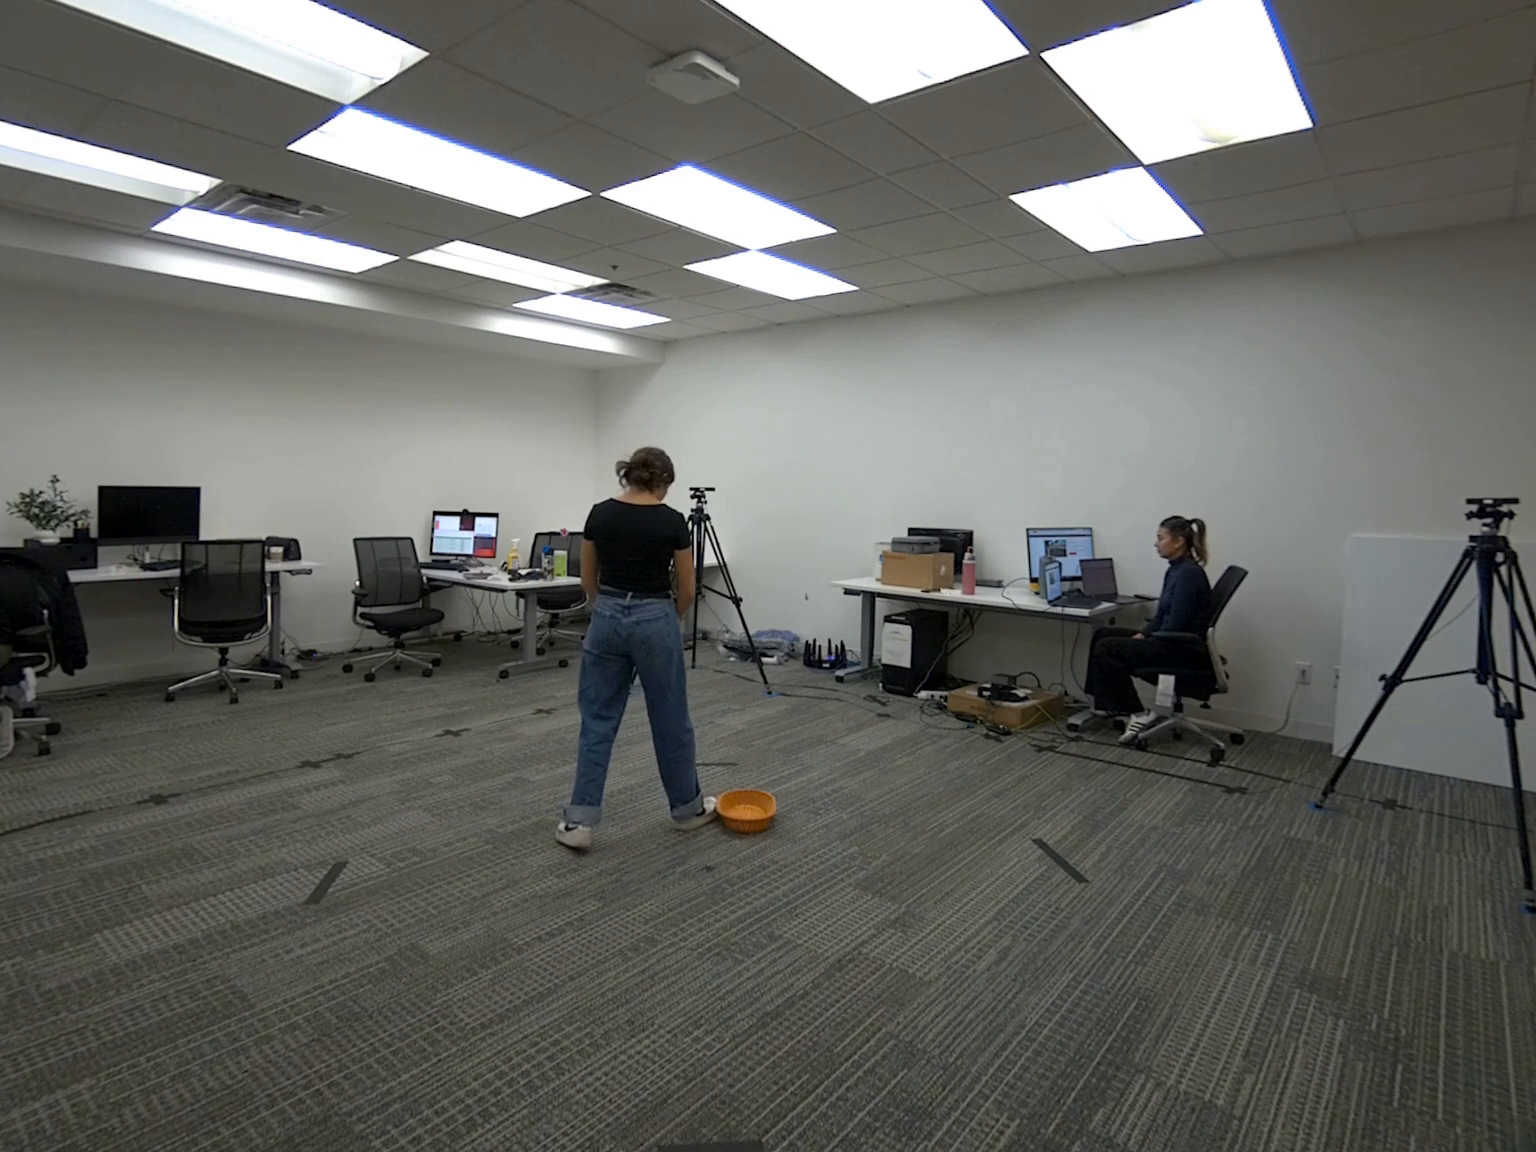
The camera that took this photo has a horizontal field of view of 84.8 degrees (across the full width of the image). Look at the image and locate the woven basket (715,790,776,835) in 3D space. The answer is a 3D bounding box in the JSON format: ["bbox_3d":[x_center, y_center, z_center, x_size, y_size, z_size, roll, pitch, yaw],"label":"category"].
[{"bbox_3d":[-0.109,0.984,3.568,0.254,0.073,0.350,2,5,3],"label":"woven basket"}]
